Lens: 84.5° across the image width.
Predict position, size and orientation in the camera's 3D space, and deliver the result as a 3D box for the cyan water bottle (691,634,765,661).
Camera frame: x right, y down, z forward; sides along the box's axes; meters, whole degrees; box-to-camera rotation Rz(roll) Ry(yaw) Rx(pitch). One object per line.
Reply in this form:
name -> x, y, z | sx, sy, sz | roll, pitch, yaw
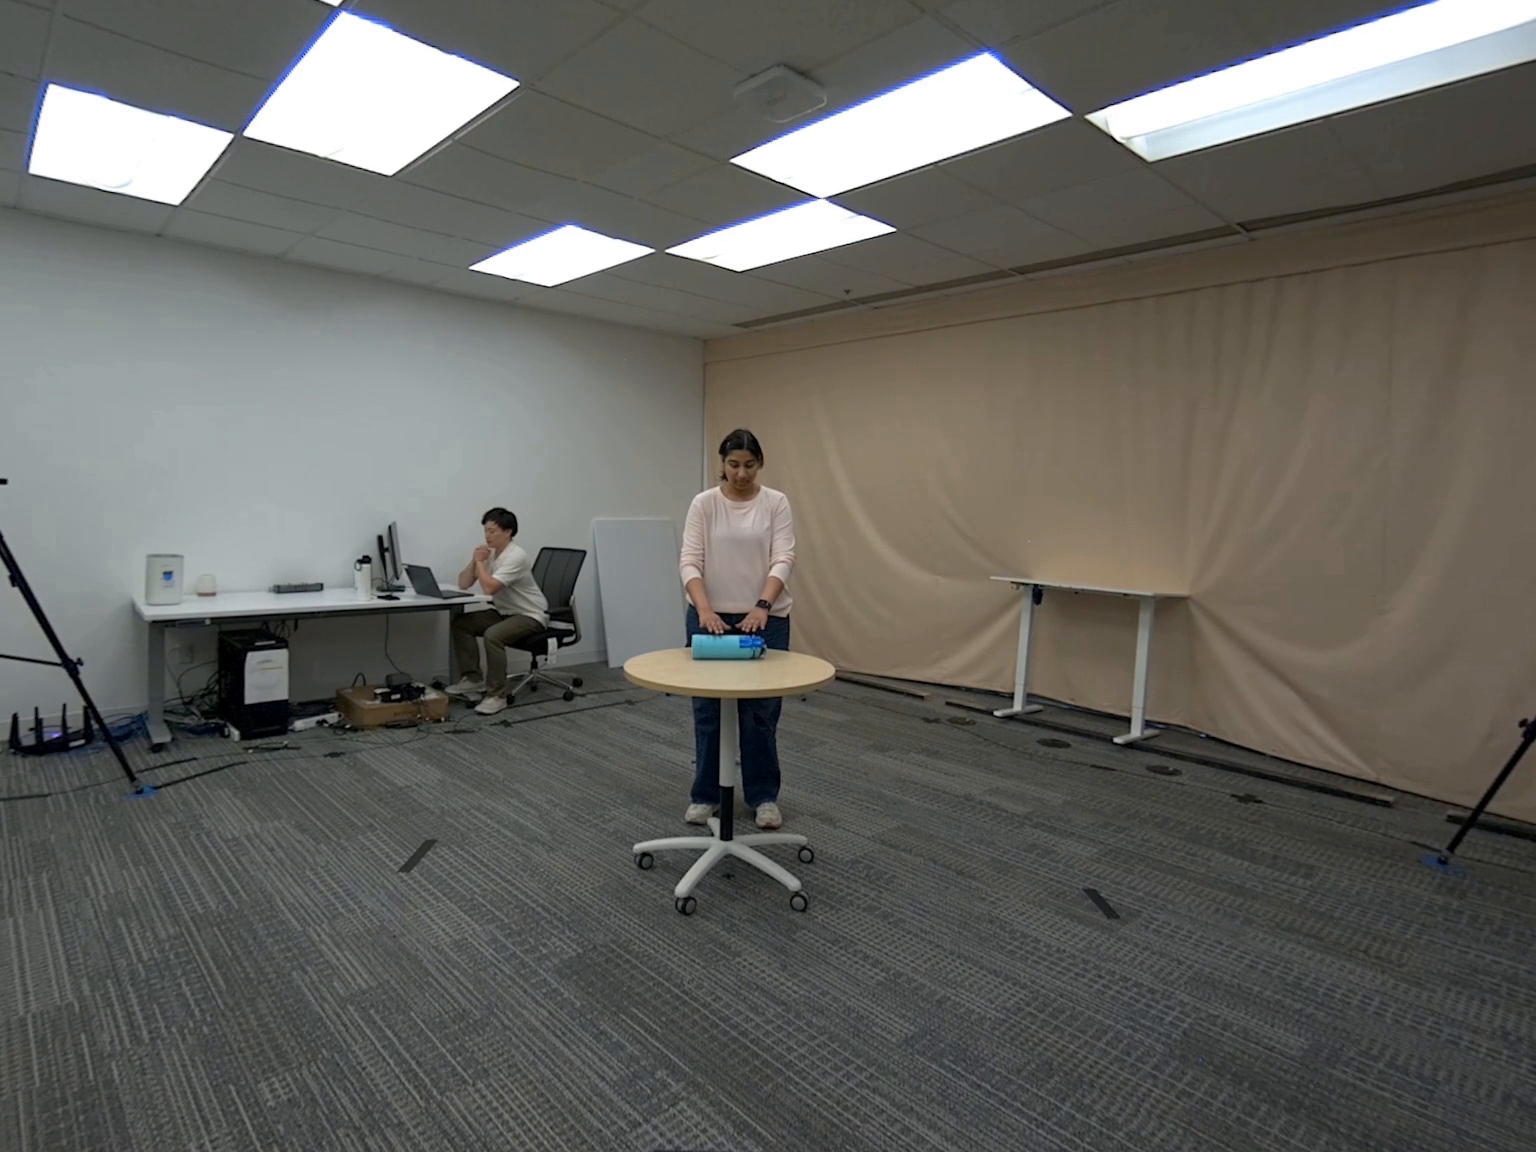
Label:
cyan water bottle -> -0.156, 0.271, 3.182 | 0.282, 0.092, 0.093 | 1, 4, -4
